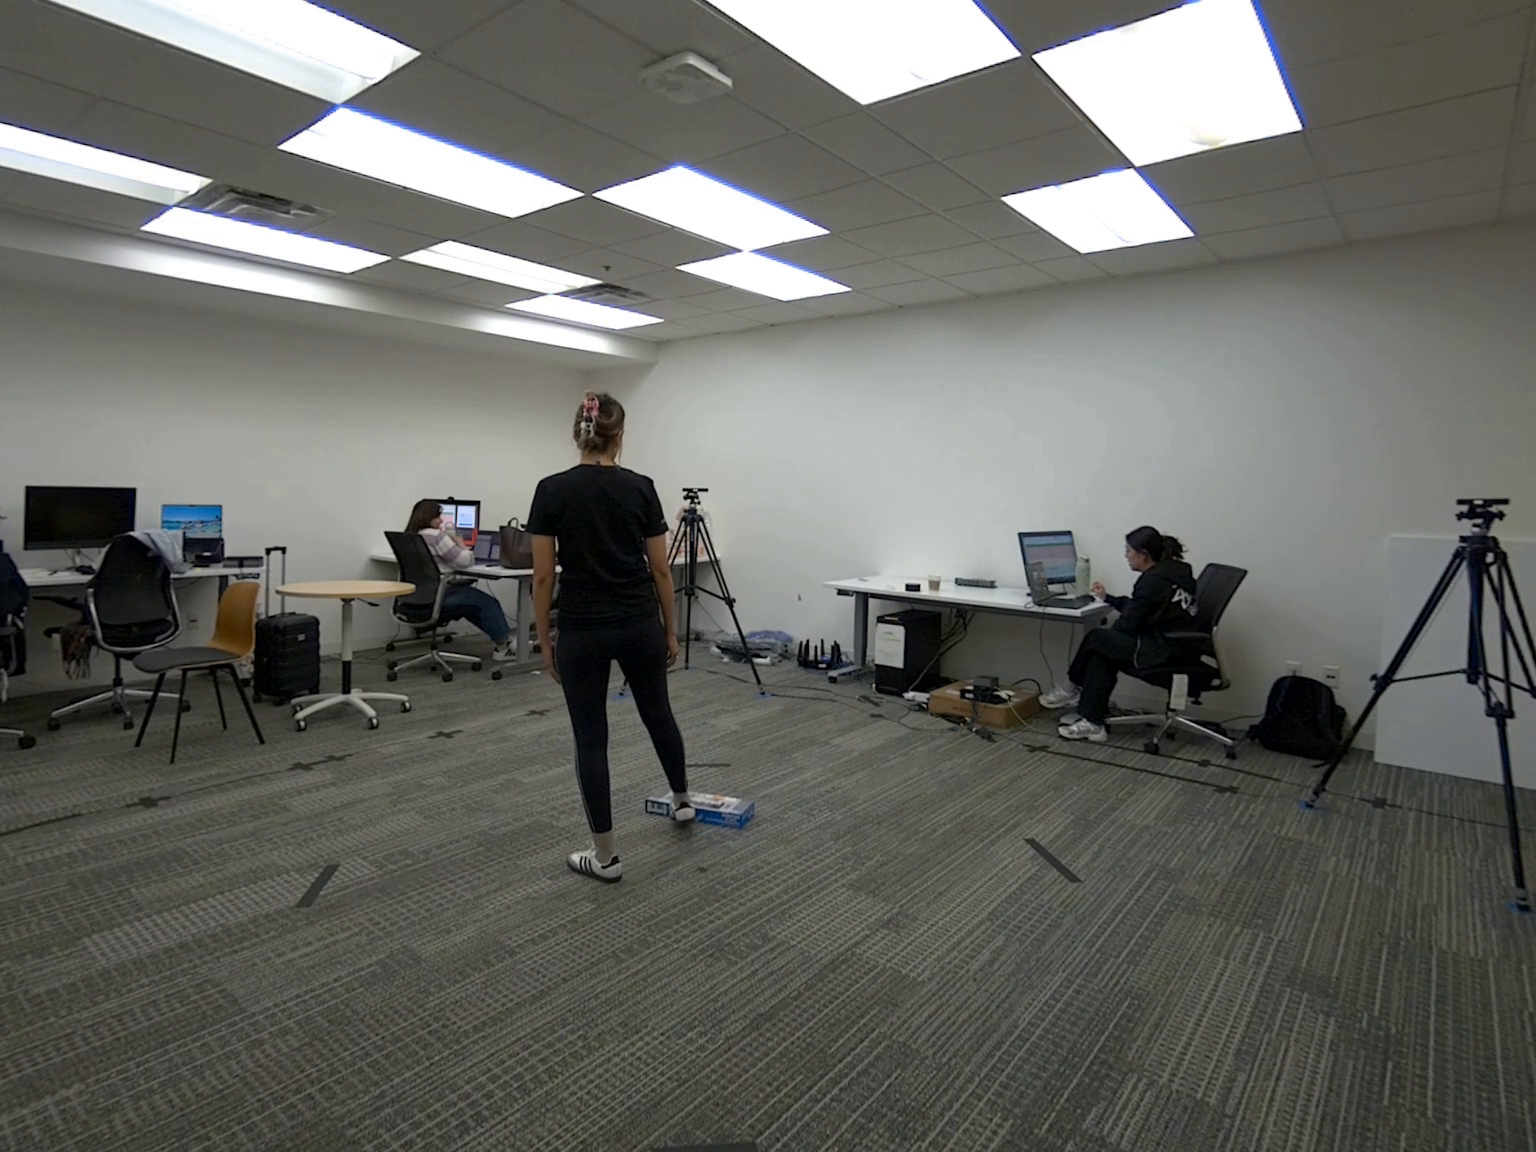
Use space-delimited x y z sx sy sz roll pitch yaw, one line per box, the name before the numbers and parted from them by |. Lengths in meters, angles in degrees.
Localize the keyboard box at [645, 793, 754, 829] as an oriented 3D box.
keyboard box | -0.301 0.986 3.647 0.446 0.059 0.173 3 5 20
